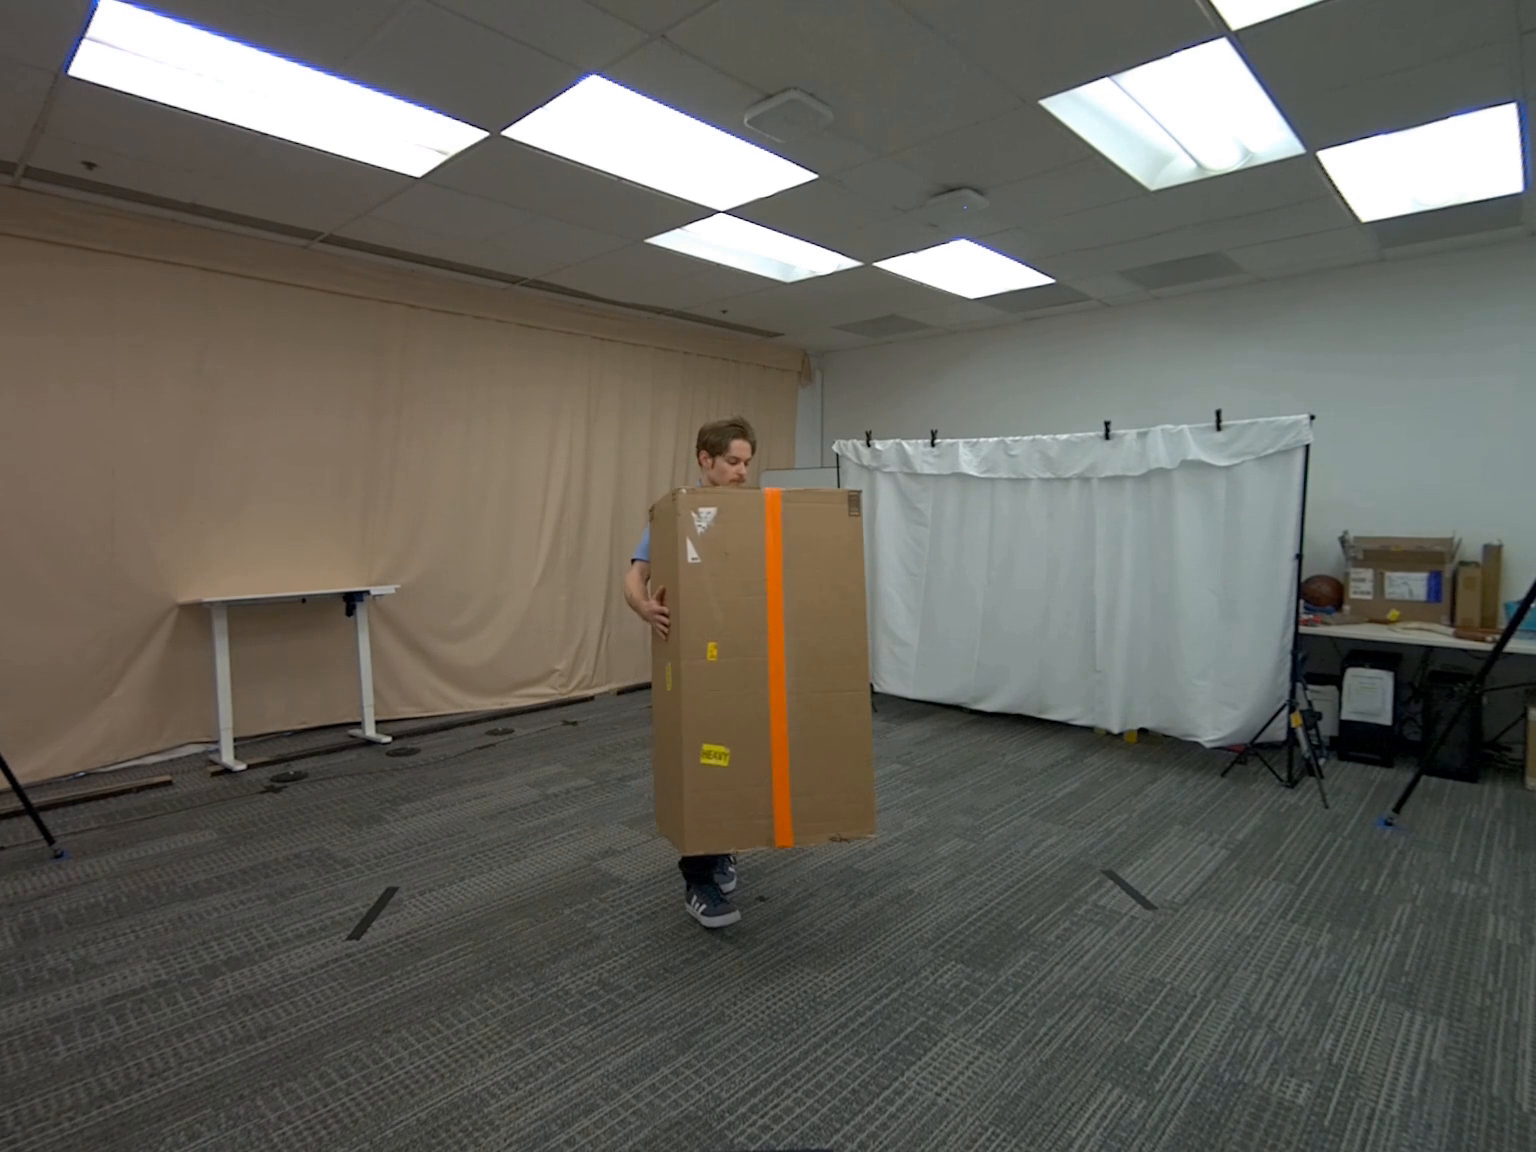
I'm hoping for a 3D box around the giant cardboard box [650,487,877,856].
[{"bbox_3d":[-0.037,0.270,2.603,0.568,1.030,0.432,0,-6,-17],"label":"giant cardboard box"}]
